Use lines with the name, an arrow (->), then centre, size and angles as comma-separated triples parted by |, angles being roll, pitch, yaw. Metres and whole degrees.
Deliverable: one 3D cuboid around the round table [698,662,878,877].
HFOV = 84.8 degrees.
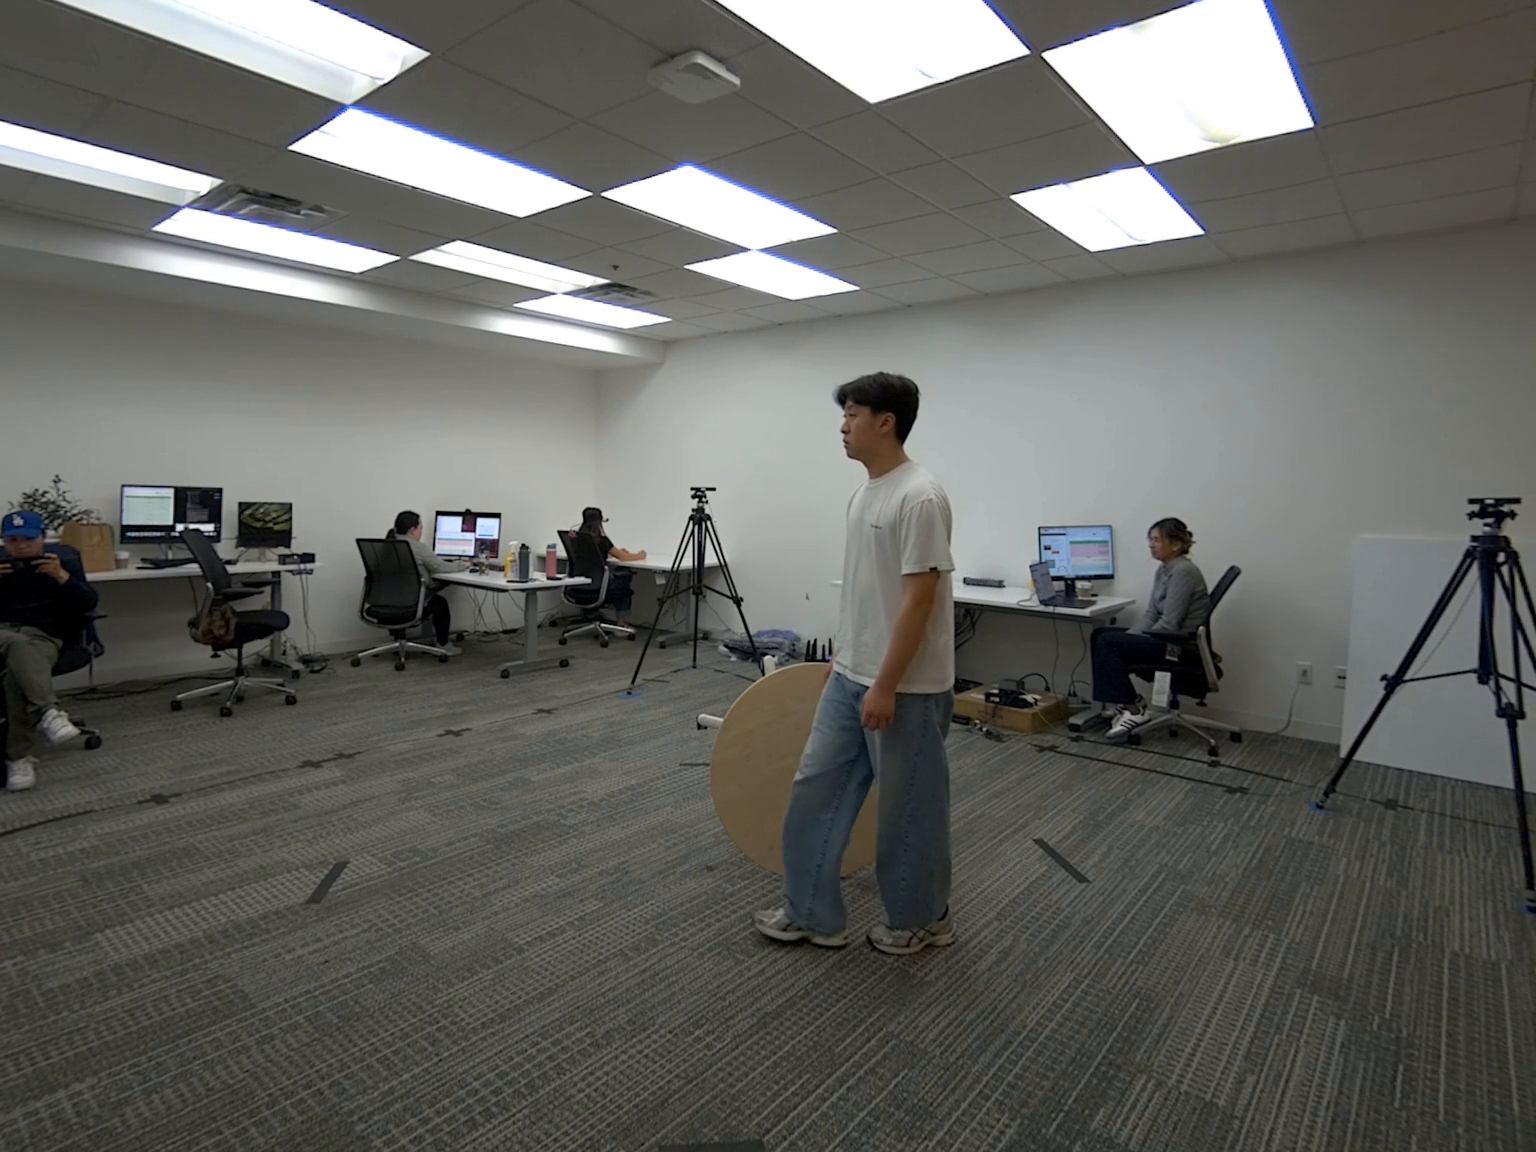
round table -> 0.076, 0.692, 3.441 | 0.777, 0.787, 0.793 | 0, -1, -11
